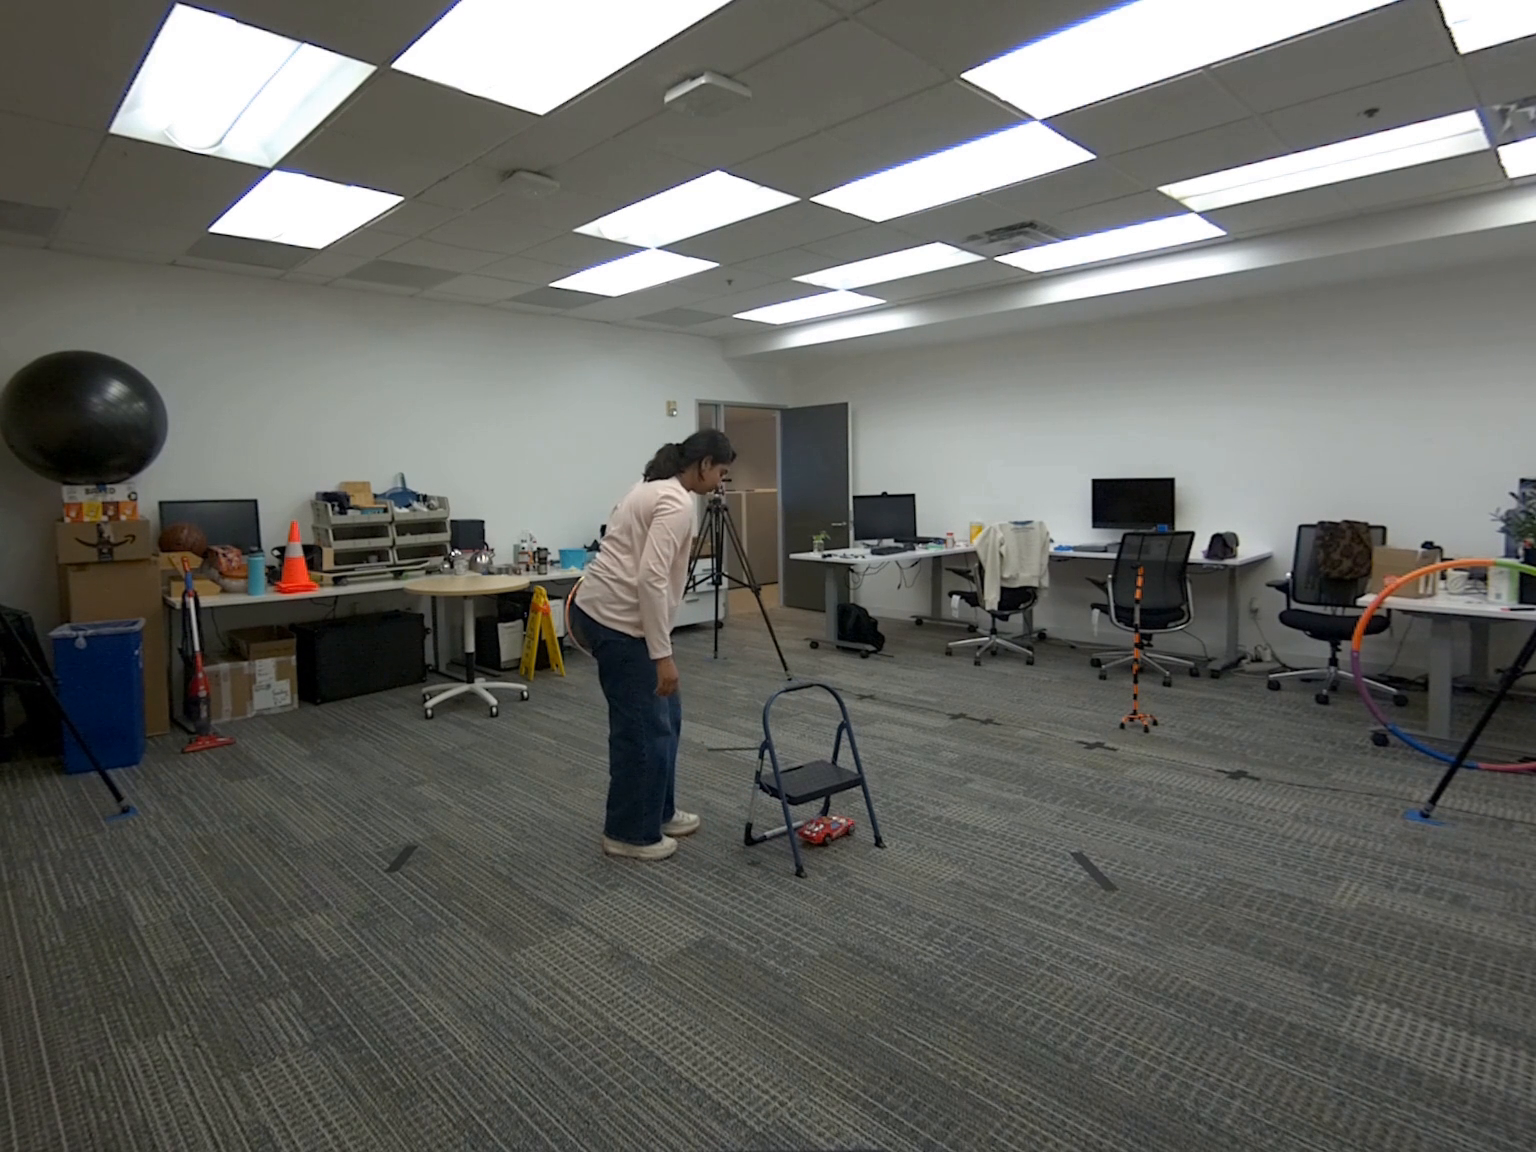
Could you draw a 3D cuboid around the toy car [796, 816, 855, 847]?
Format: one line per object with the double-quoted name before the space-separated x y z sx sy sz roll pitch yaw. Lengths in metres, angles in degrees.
"toy car" 0.219 0.976 3.304 0.246 0.083 0.134 10 -3 -42
